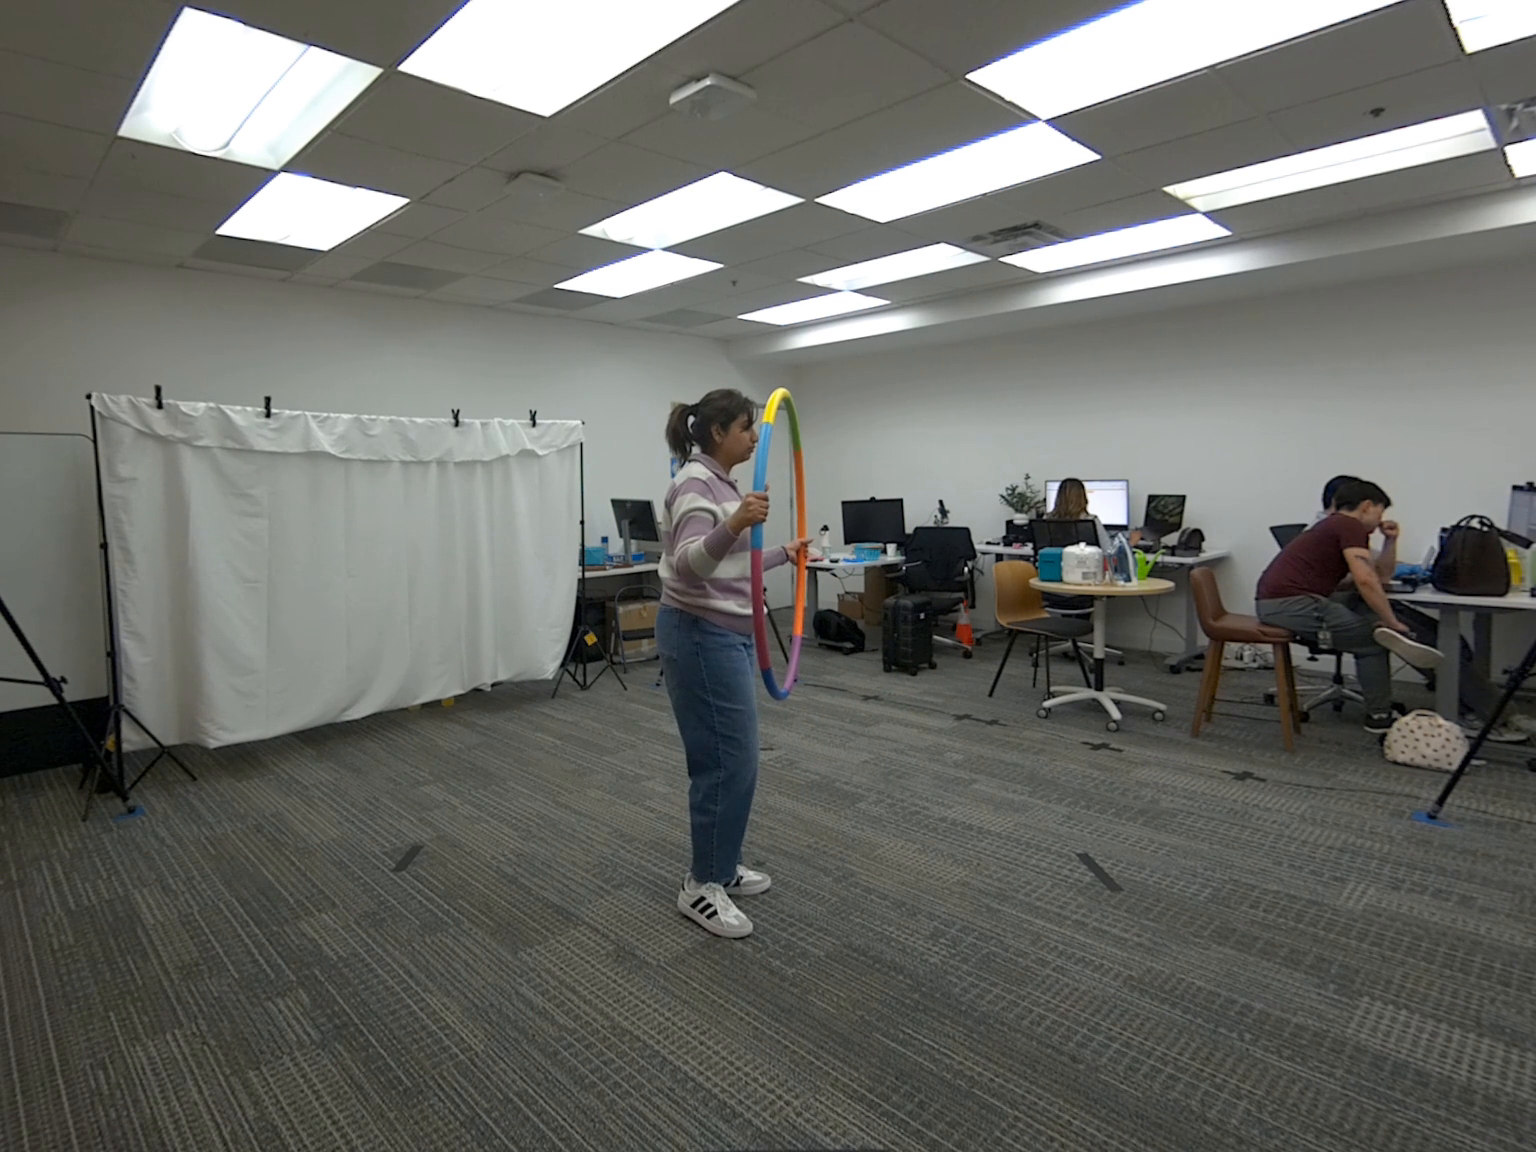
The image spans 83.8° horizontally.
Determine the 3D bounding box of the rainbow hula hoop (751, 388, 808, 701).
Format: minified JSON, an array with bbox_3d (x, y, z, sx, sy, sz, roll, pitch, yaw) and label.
[{"bbox_3d":[0.048,-0.105,2.746,0.036,0.975,0.972,0,5,9],"label":"rainbow hula hoop"}]
